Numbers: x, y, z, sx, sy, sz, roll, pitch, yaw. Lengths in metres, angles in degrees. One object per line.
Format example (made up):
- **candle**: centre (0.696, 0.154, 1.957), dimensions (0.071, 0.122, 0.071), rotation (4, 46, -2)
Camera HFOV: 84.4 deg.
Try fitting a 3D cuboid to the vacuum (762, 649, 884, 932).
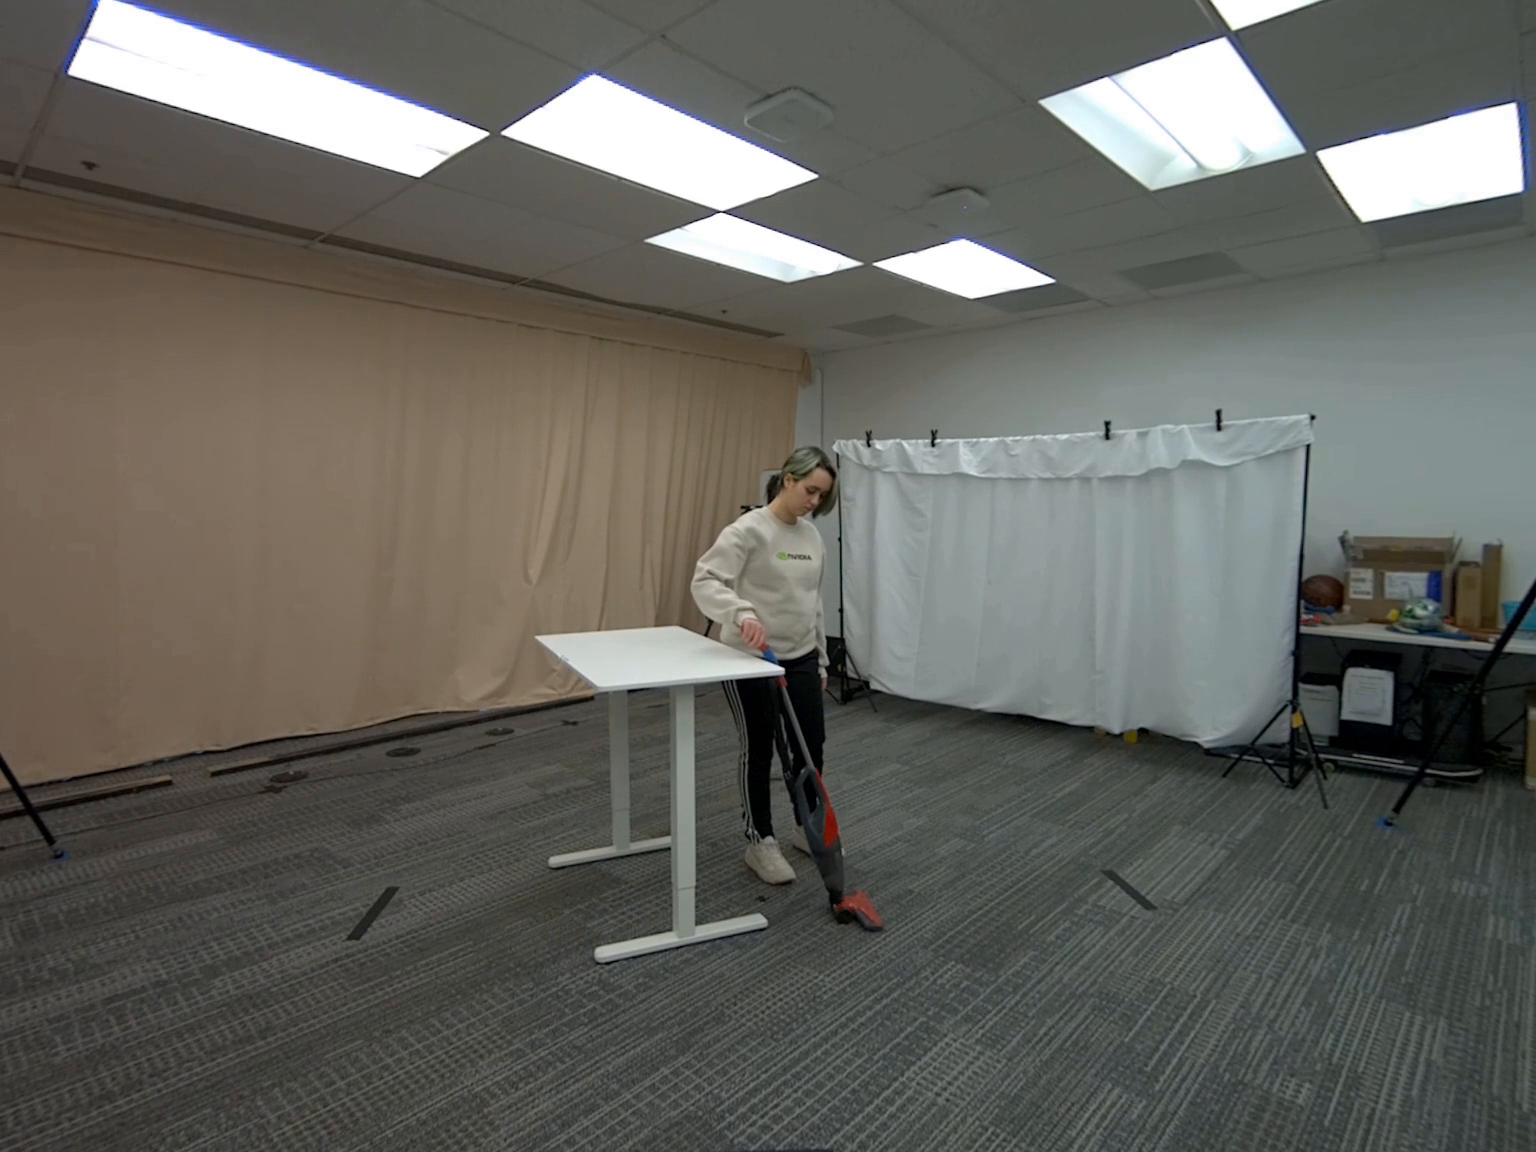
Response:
- **vacuum**: centre (0.114, 0.662, 2.835), dimensions (0.143, 1.046, 0.256), rotation (-22, 3, -12)
